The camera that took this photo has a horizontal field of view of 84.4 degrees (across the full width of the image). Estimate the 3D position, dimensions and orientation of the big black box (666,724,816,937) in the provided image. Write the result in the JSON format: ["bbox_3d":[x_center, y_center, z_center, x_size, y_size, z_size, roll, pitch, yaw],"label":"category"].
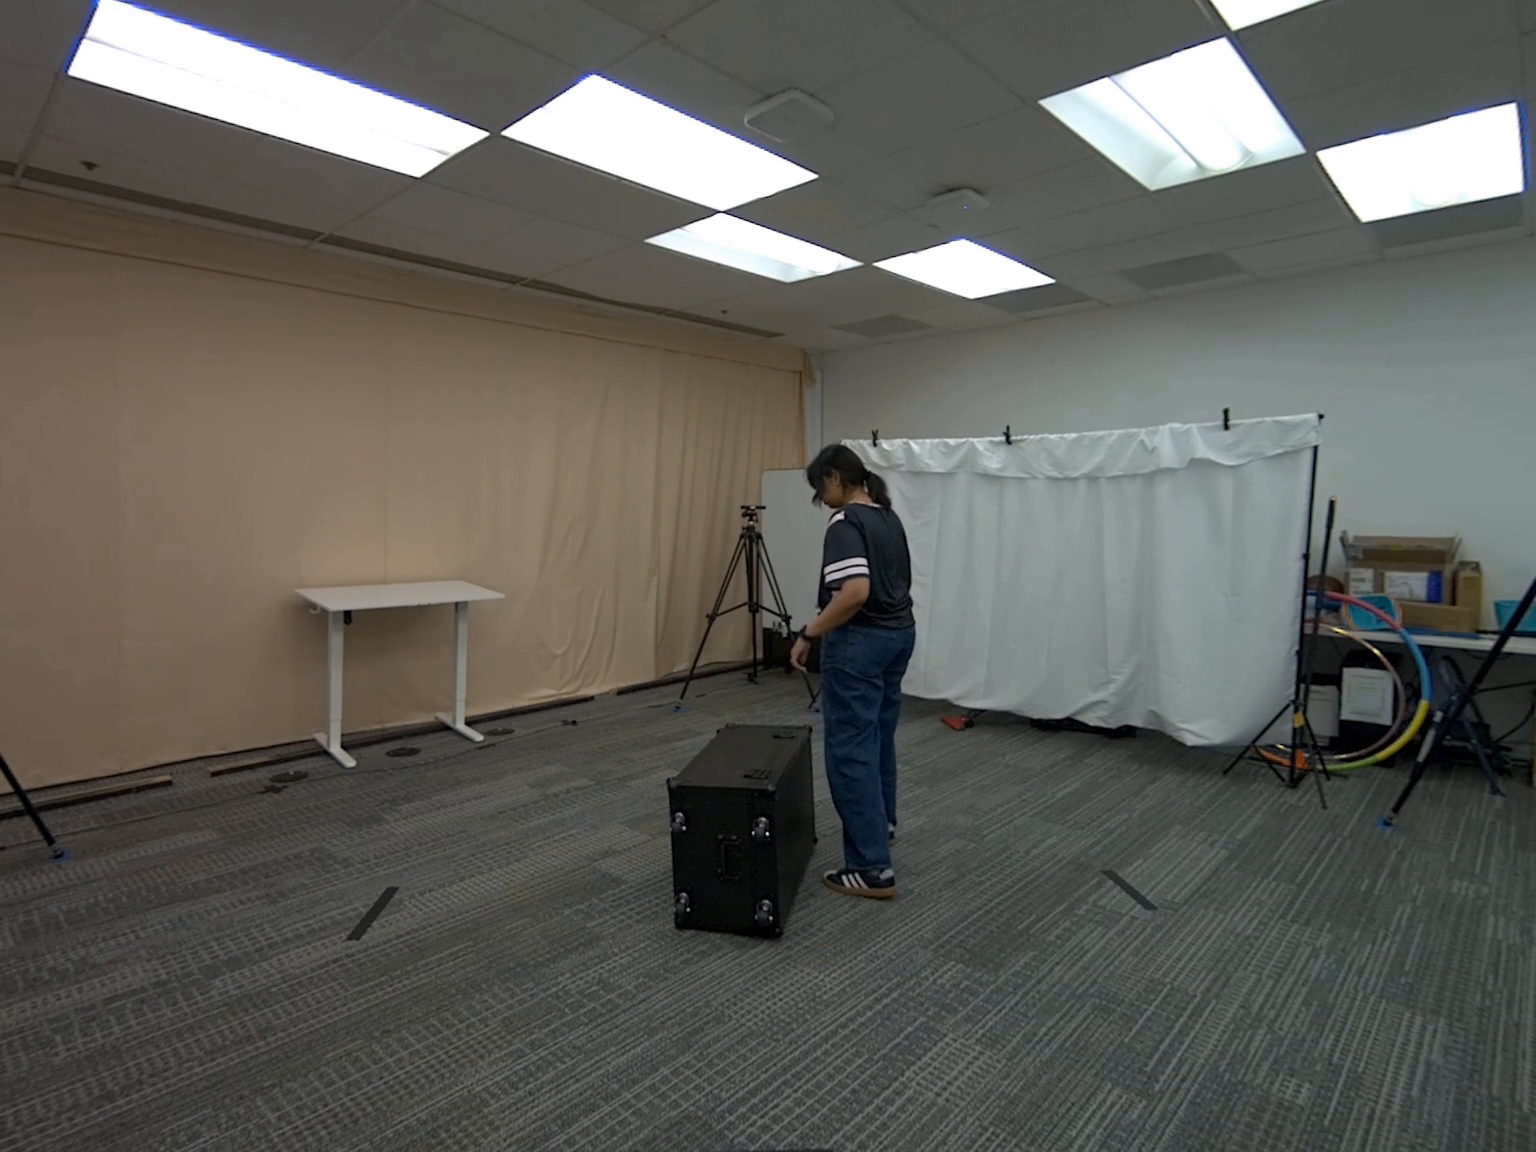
[{"bbox_3d":[-0.075,0.881,3.055,0.391,0.522,0.858,0,4,12],"label":"big black box"}]
